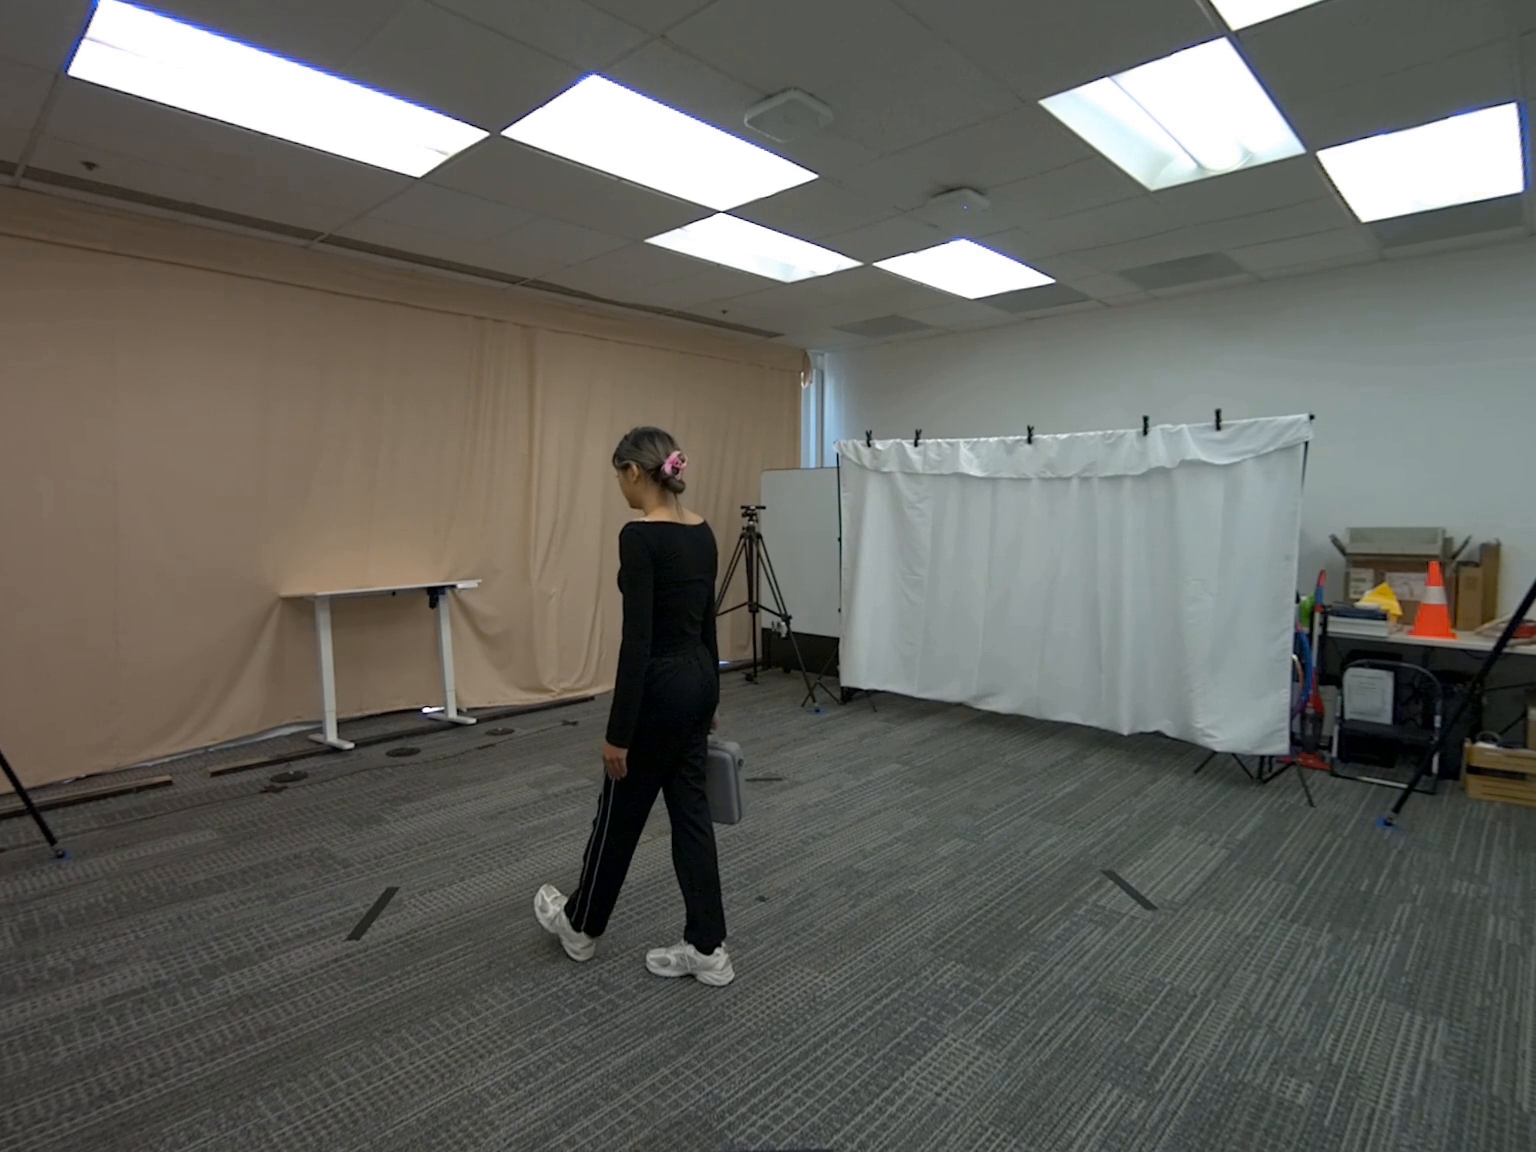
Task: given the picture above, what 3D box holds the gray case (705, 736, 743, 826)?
[{"bbox_3d":[-0.208,0.651,2.704,0.263,0.259,0.102,1,10,24],"label":"gray case"}]
